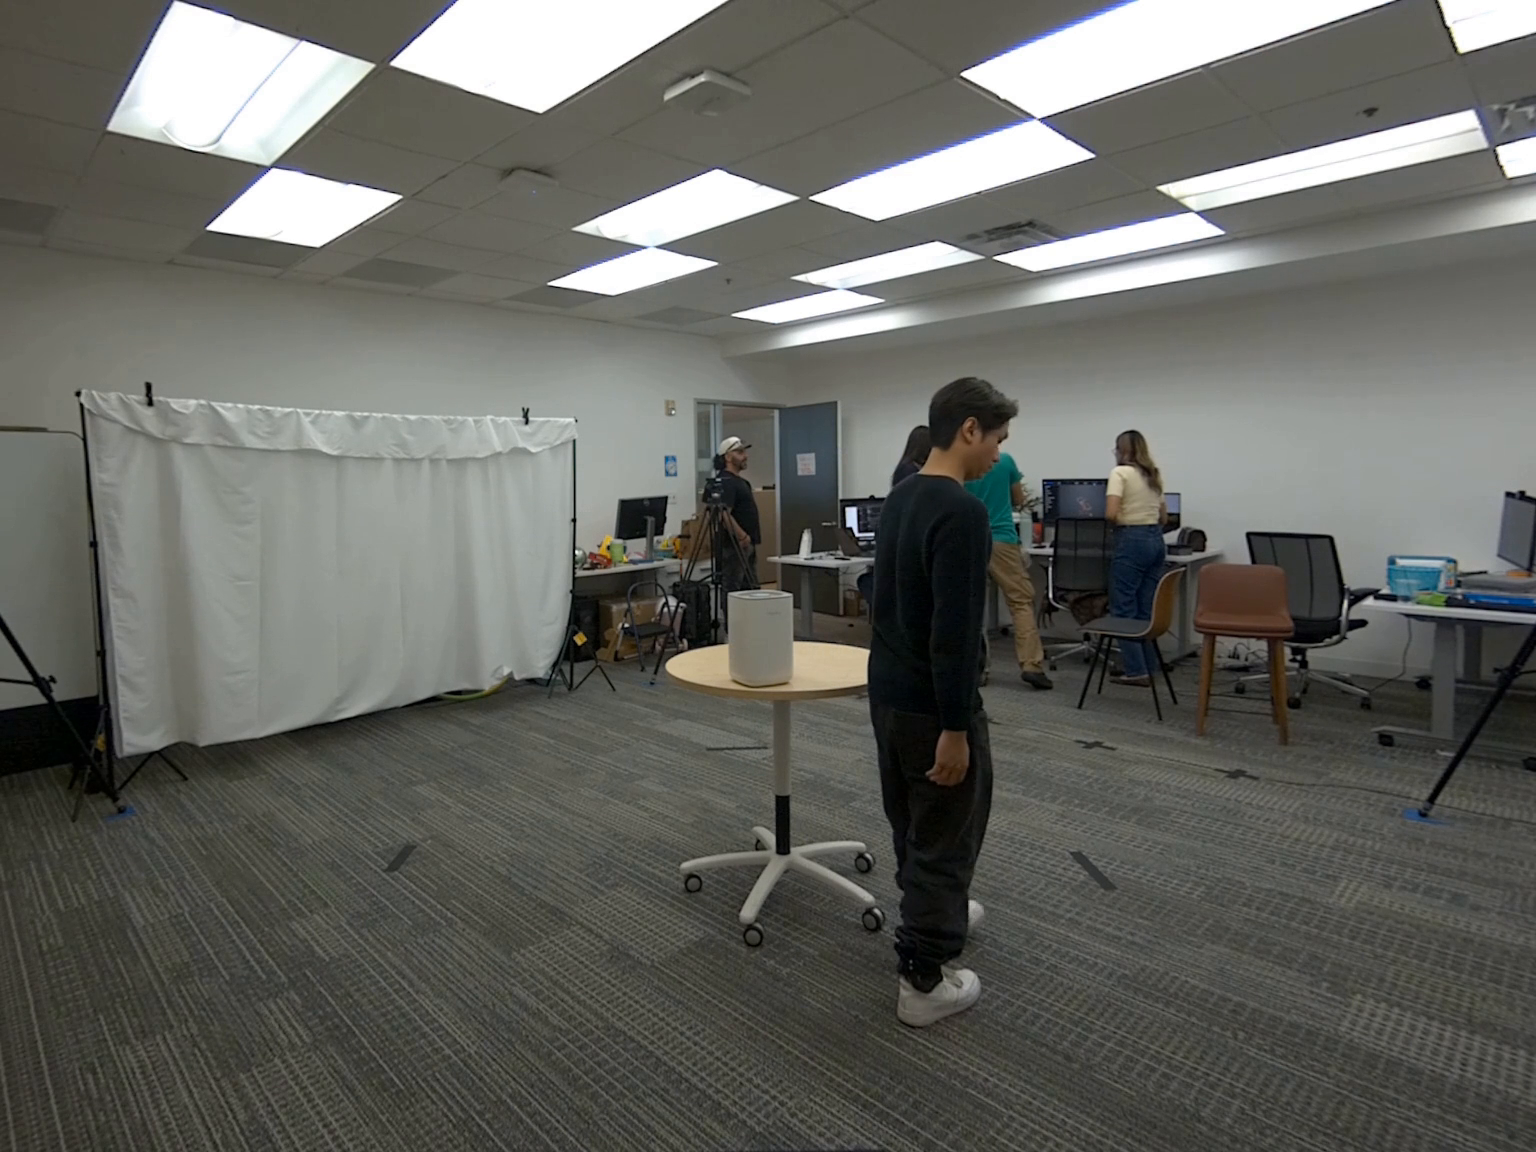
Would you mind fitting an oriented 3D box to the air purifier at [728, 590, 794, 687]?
[{"bbox_3d":[-0.017,0.185,2.565,0.167,0.264,0.176,-3,5,-27],"label":"air purifier"}]
